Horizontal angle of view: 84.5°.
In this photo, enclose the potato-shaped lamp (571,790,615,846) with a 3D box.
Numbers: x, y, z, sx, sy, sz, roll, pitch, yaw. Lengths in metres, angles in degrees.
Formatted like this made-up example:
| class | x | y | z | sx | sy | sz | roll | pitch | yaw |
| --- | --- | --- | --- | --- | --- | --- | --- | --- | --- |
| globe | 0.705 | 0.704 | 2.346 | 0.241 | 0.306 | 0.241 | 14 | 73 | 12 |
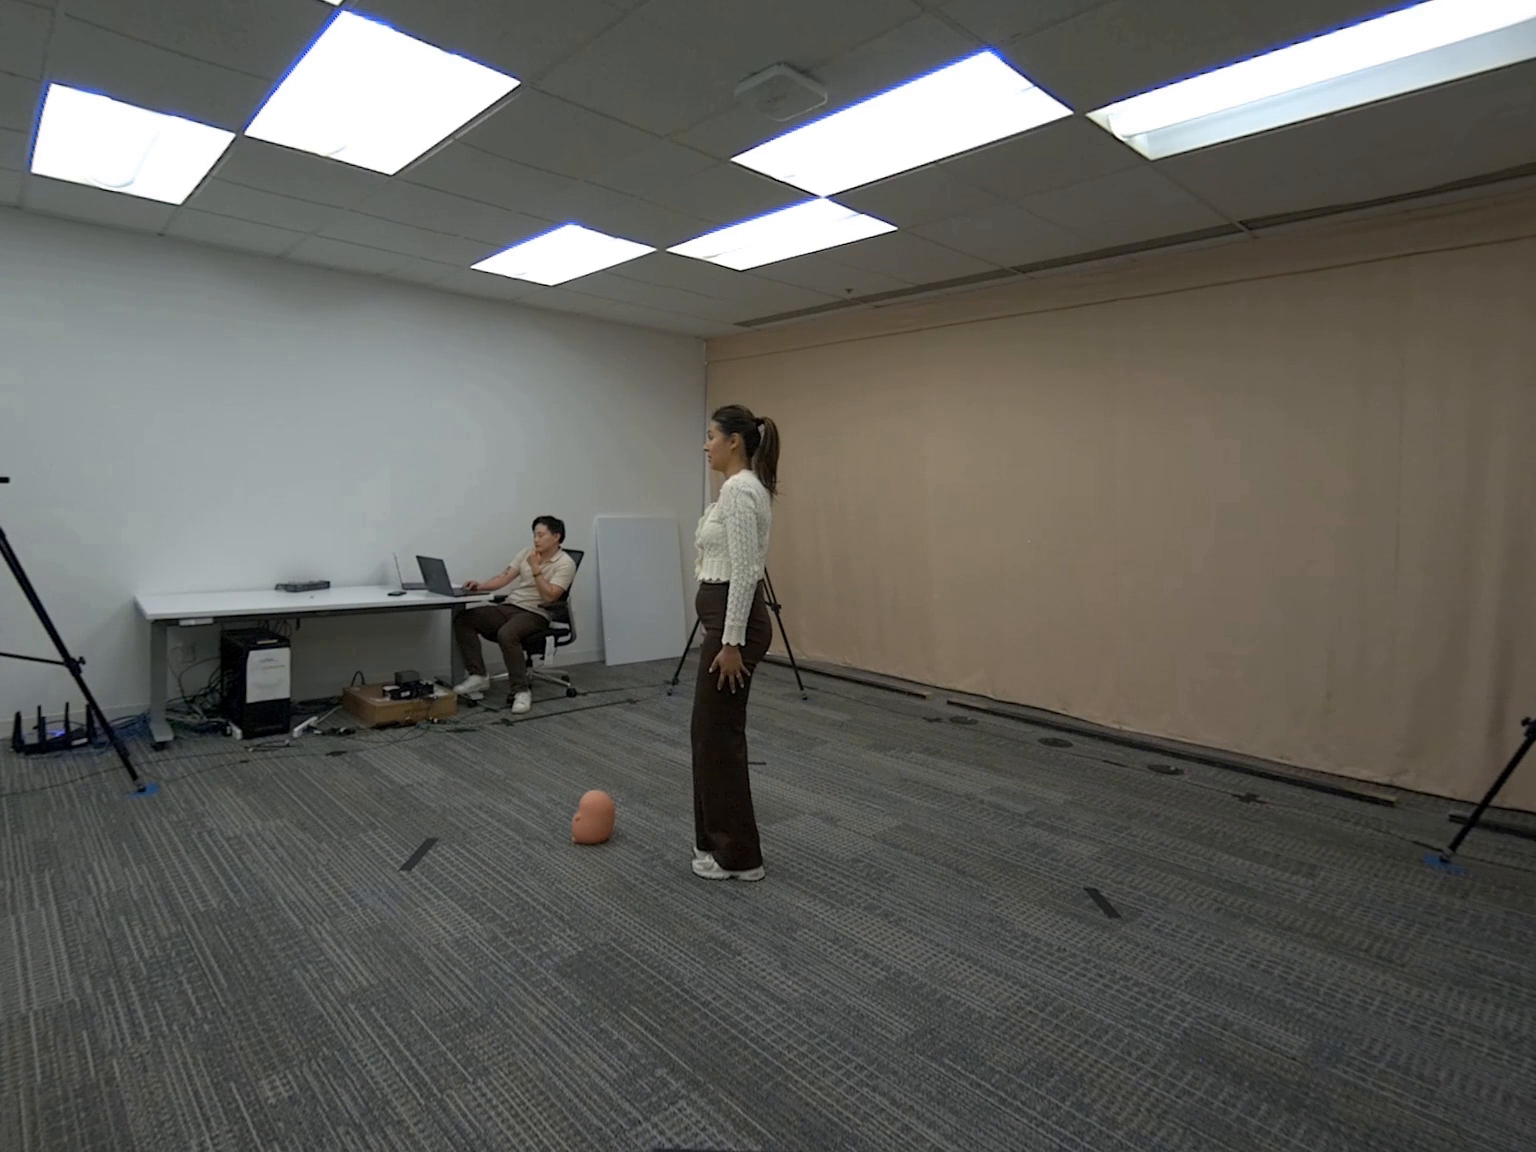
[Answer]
| class | x | y | z | sx | sy | sz | roll | pitch | yaw |
| --- | --- | --- | --- | --- | --- | --- | --- | --- | --- |
| potato-shaped lamp | -0.711 | 0.961 | 3.390 | 0.172 | 0.197 | 0.164 | 2 | 4 | 7 |
